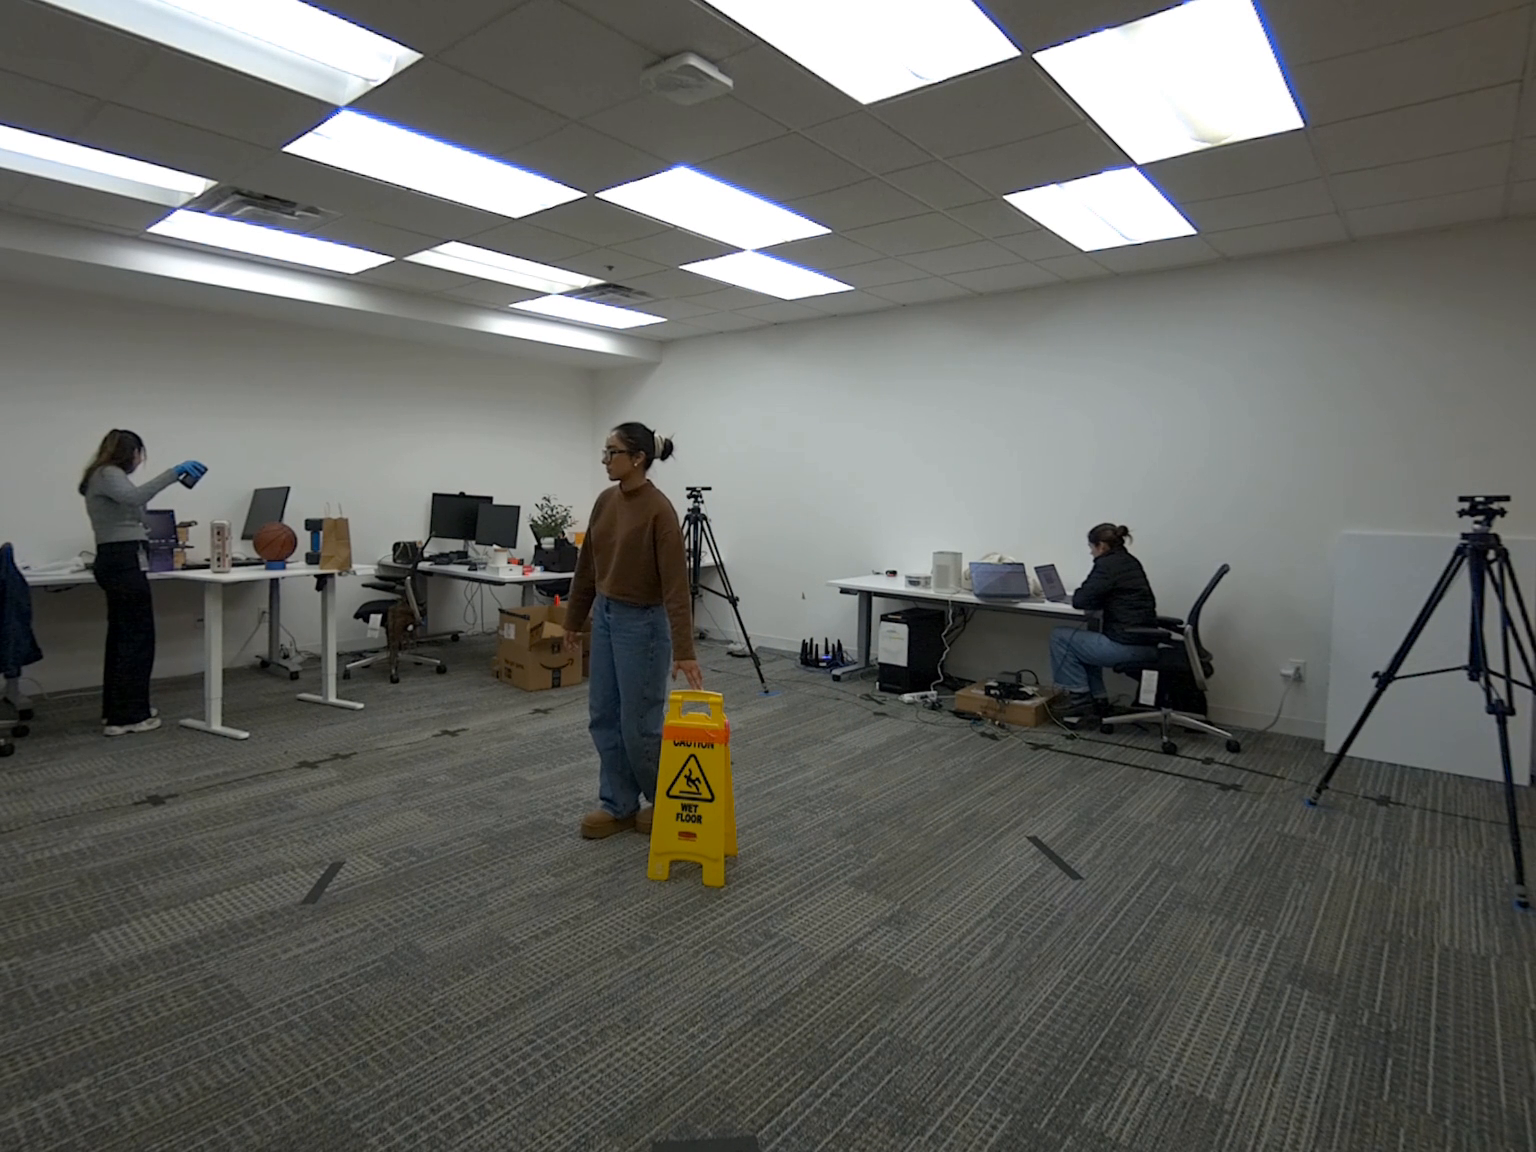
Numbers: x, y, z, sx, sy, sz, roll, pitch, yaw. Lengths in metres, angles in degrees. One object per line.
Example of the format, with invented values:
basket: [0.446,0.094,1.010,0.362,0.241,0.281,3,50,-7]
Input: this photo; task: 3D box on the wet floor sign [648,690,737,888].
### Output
wet floor sign: [-0.278,0.740,3.101,0.285,0.644,0.287,0,3,9]
